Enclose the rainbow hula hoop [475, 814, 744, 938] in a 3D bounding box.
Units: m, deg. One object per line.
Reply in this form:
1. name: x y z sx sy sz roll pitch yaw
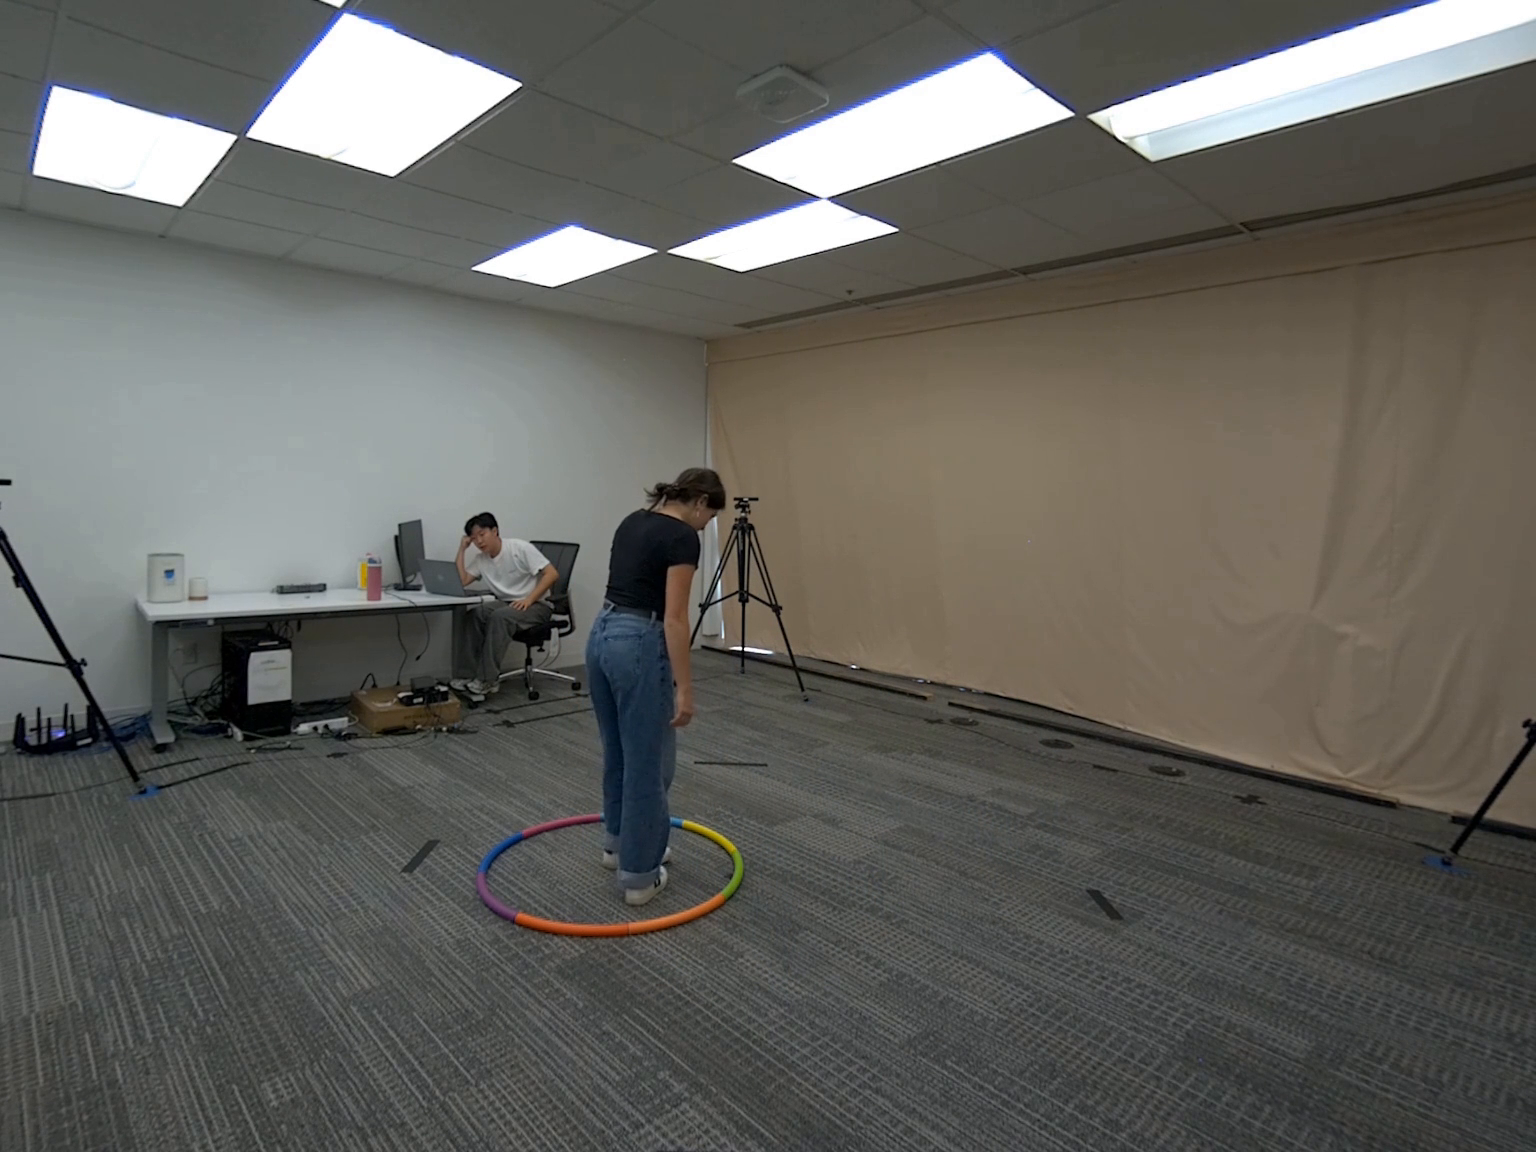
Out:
1. rainbow hula hoop: -0.579 1.068 3.133 0.978 0.035 0.982 1 5 -1
